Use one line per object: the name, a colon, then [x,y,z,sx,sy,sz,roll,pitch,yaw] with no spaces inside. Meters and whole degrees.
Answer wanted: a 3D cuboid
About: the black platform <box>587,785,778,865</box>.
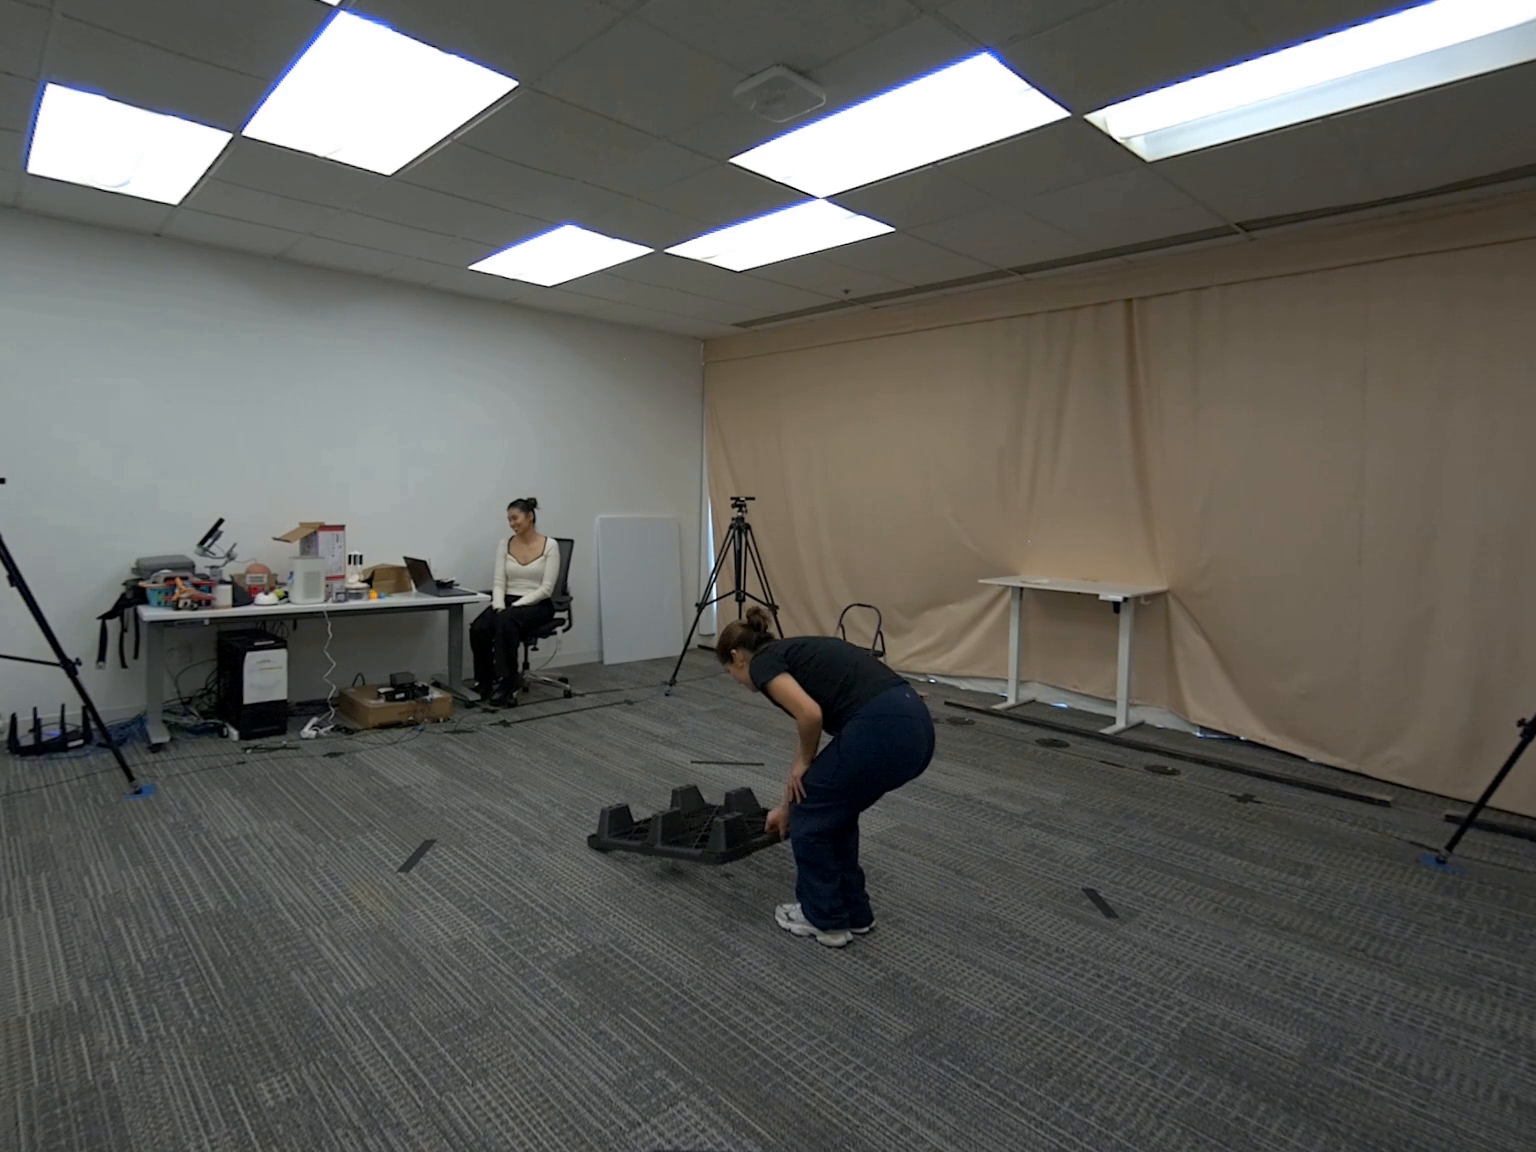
black platform: [-0.246,0.943,3.247,0.591,0.144,0.820,-3,-6,-45]
